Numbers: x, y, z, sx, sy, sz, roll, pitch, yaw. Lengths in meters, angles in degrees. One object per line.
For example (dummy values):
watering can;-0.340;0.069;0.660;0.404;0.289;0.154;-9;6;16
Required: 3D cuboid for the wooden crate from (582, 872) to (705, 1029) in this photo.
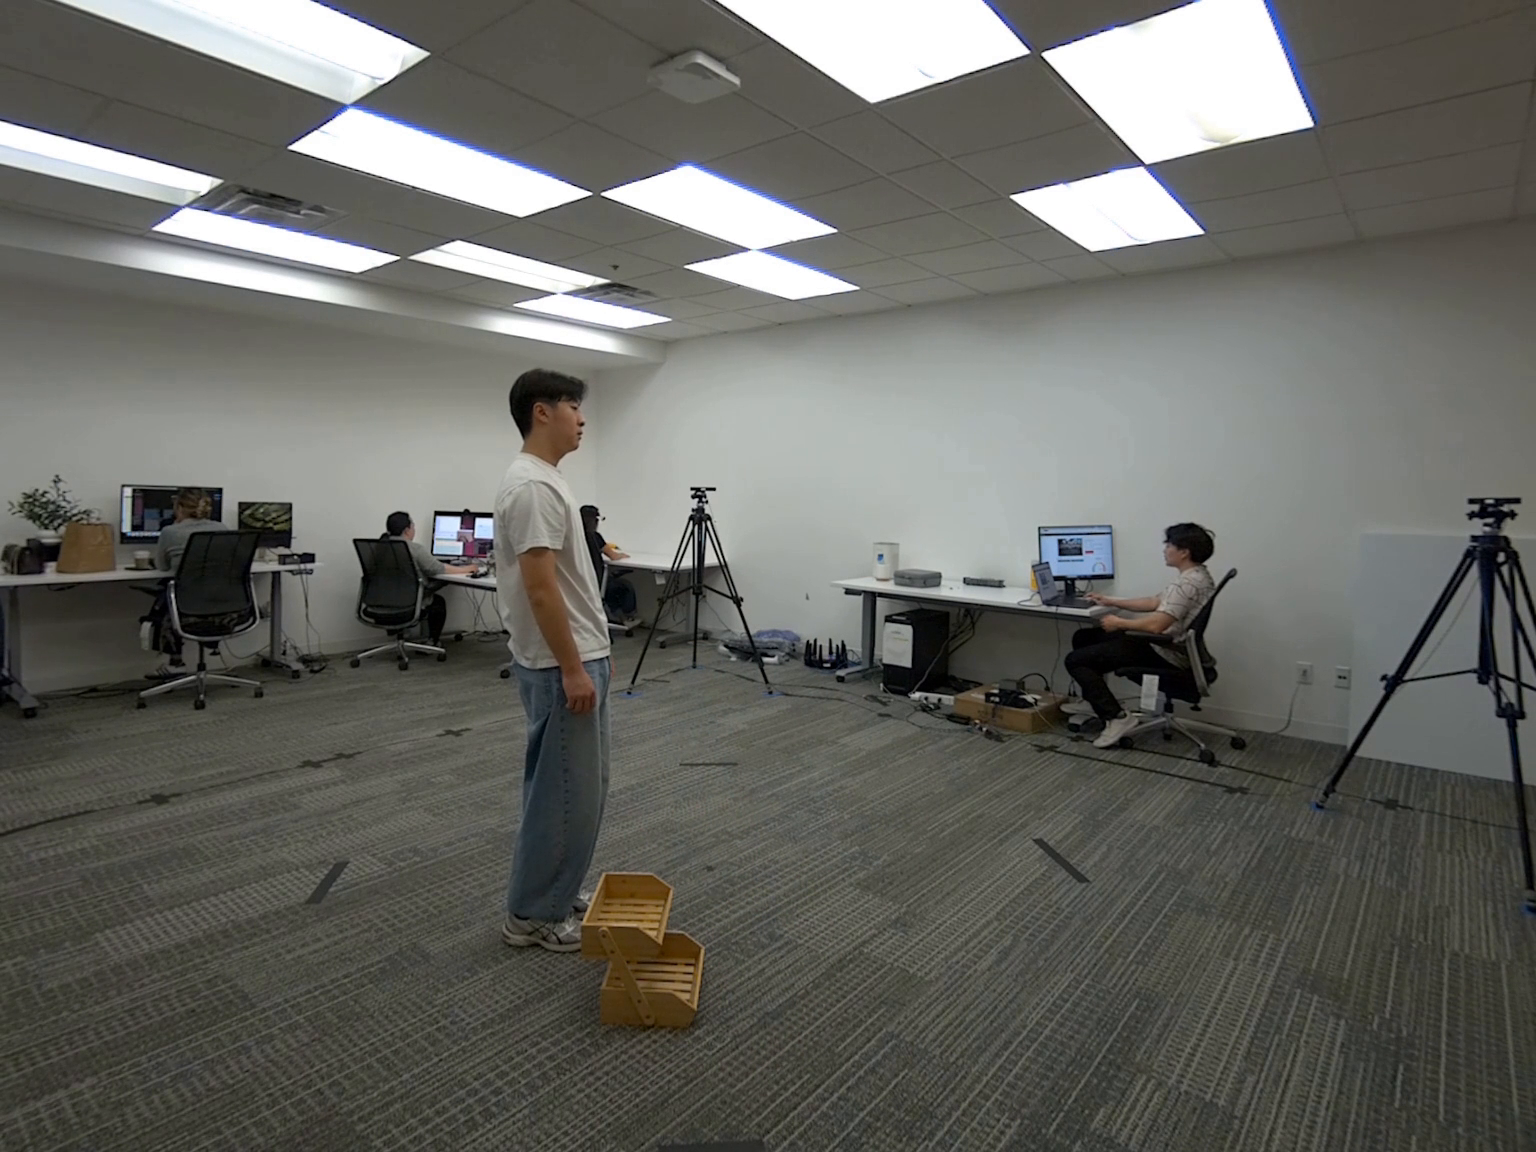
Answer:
wooden crate;-0.335;1.011;2.323;0.302;0.272;0.325;0;5;1
